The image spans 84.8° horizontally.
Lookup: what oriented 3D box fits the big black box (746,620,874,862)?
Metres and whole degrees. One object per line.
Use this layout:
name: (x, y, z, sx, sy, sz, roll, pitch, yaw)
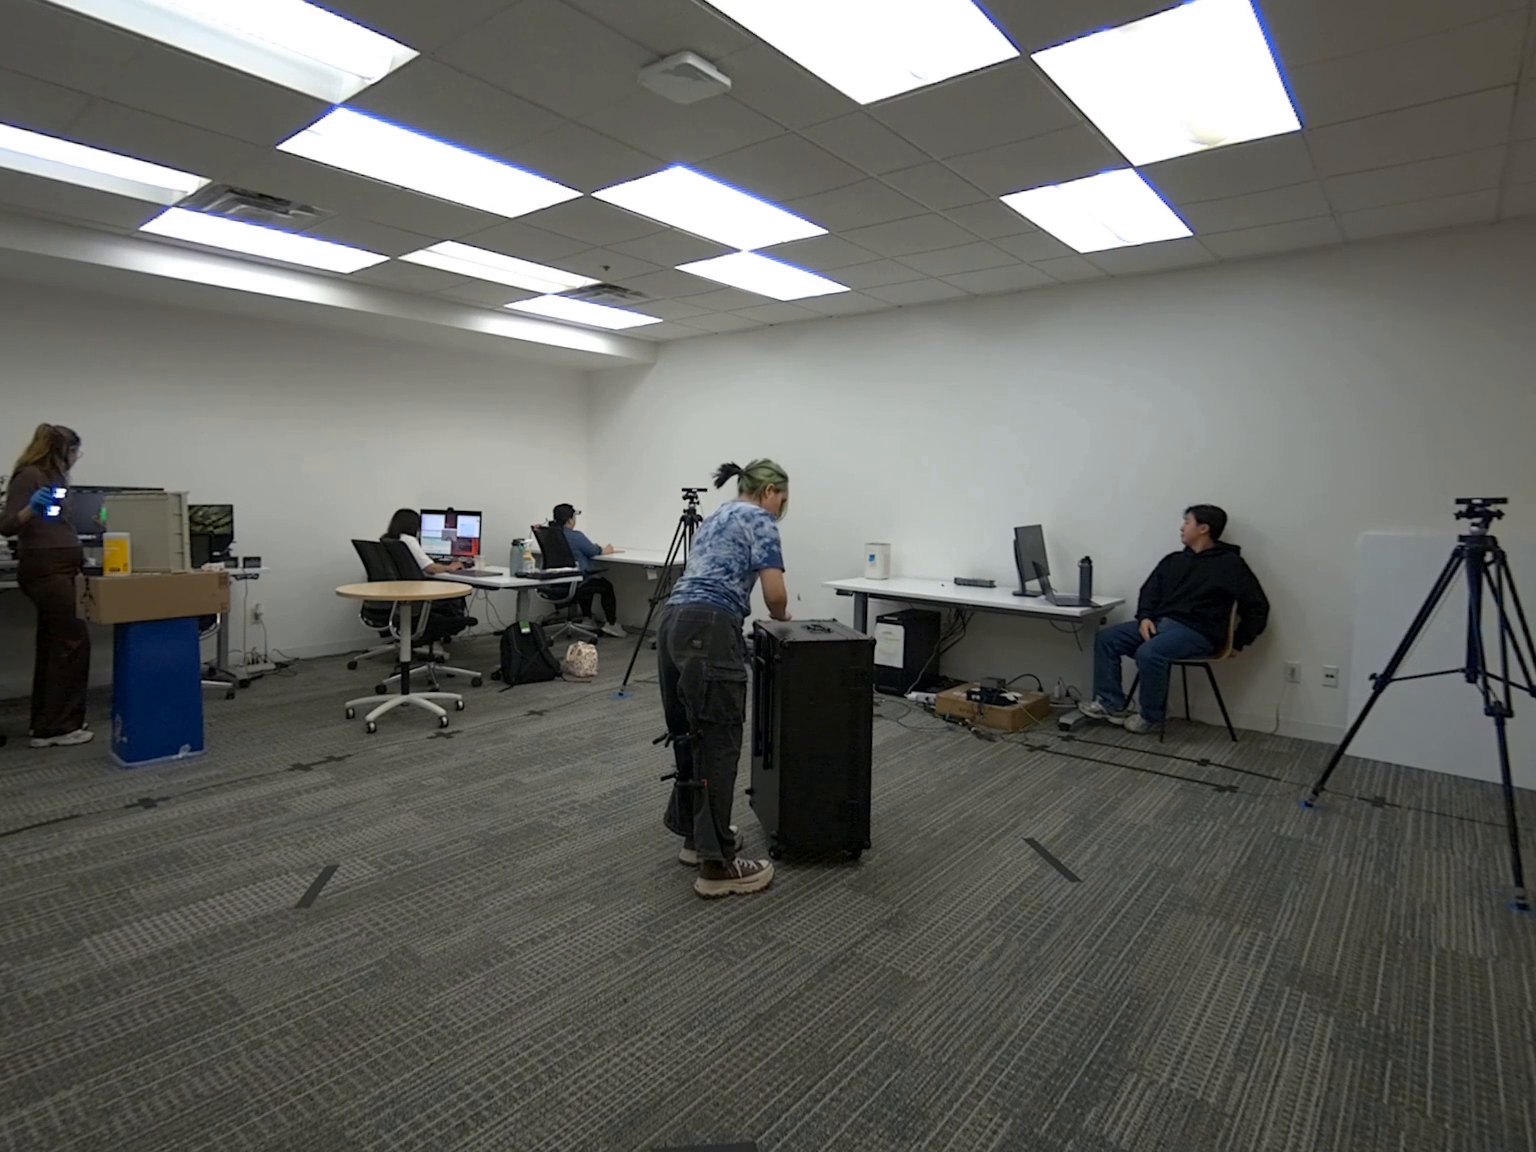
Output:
big black box: (0.150, 0.635, 3.339, 0.392, 0.858, 0.530, 0, 5, -12)
